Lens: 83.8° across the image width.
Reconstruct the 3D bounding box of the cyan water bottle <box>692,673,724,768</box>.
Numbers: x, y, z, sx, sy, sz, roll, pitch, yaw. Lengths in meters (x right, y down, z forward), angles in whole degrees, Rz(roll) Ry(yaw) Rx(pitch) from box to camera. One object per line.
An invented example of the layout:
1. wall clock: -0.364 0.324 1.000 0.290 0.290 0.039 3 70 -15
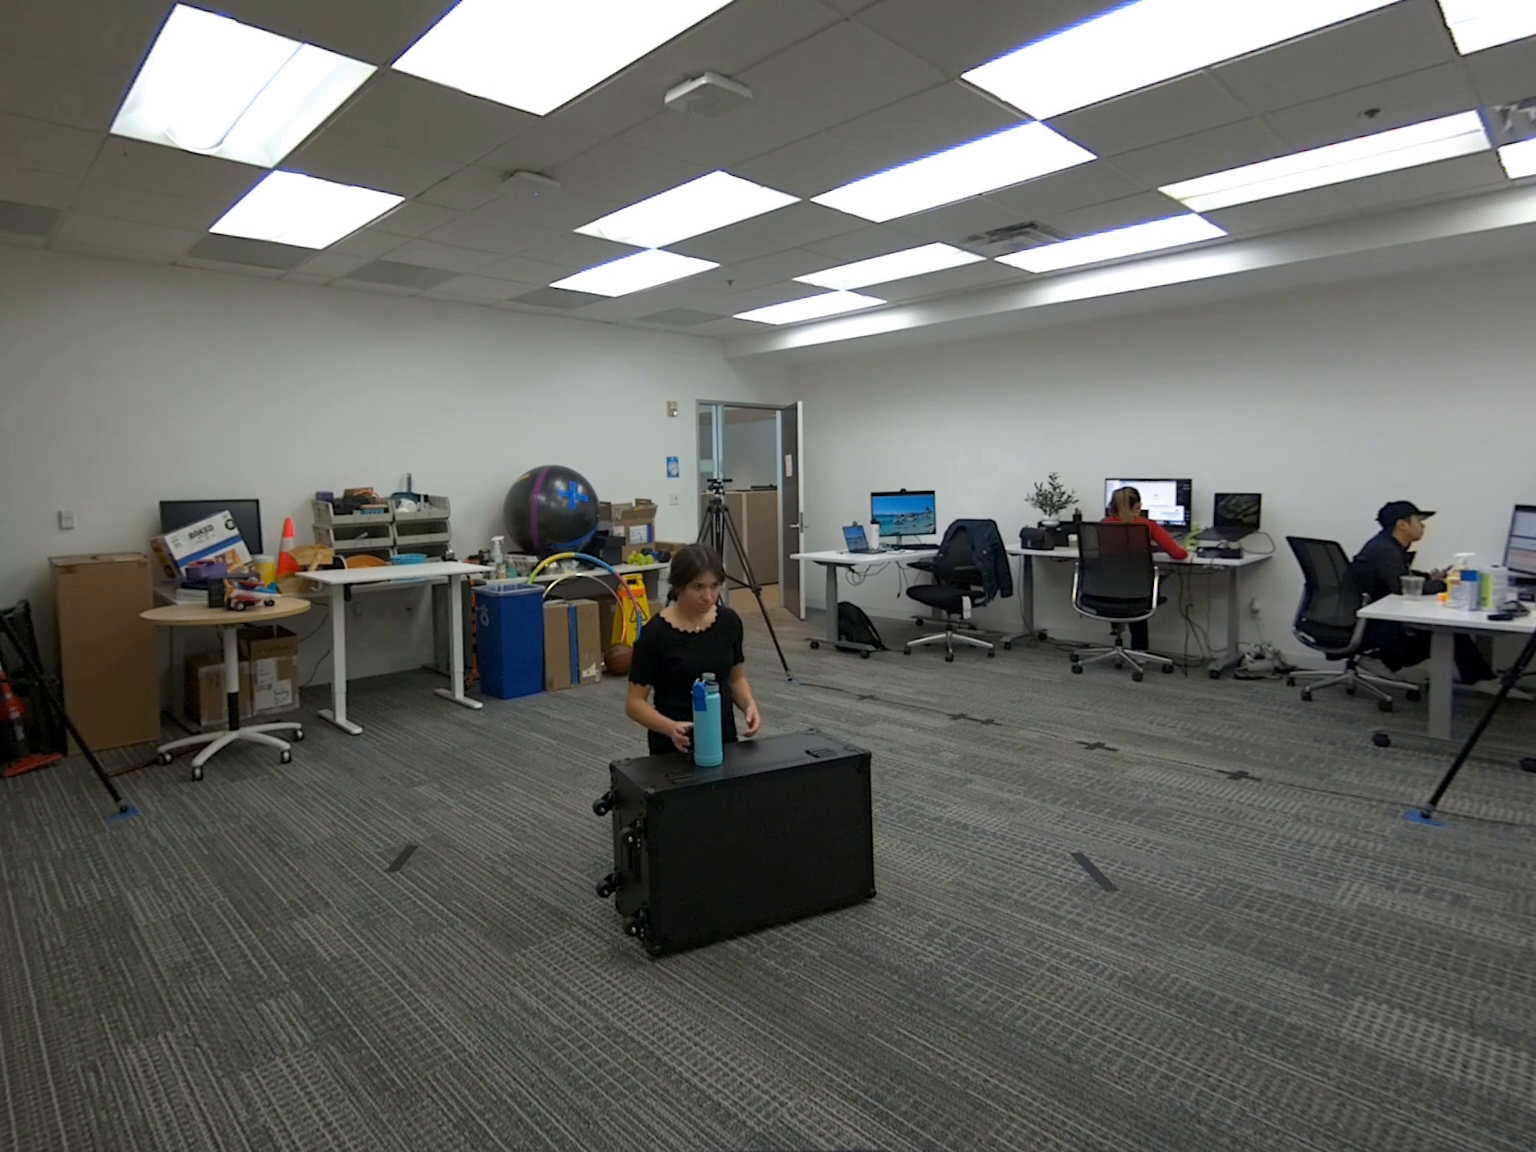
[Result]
1. cyan water bottle: -0.197 0.465 2.746 0.092 0.282 0.093 -1 3 -2
